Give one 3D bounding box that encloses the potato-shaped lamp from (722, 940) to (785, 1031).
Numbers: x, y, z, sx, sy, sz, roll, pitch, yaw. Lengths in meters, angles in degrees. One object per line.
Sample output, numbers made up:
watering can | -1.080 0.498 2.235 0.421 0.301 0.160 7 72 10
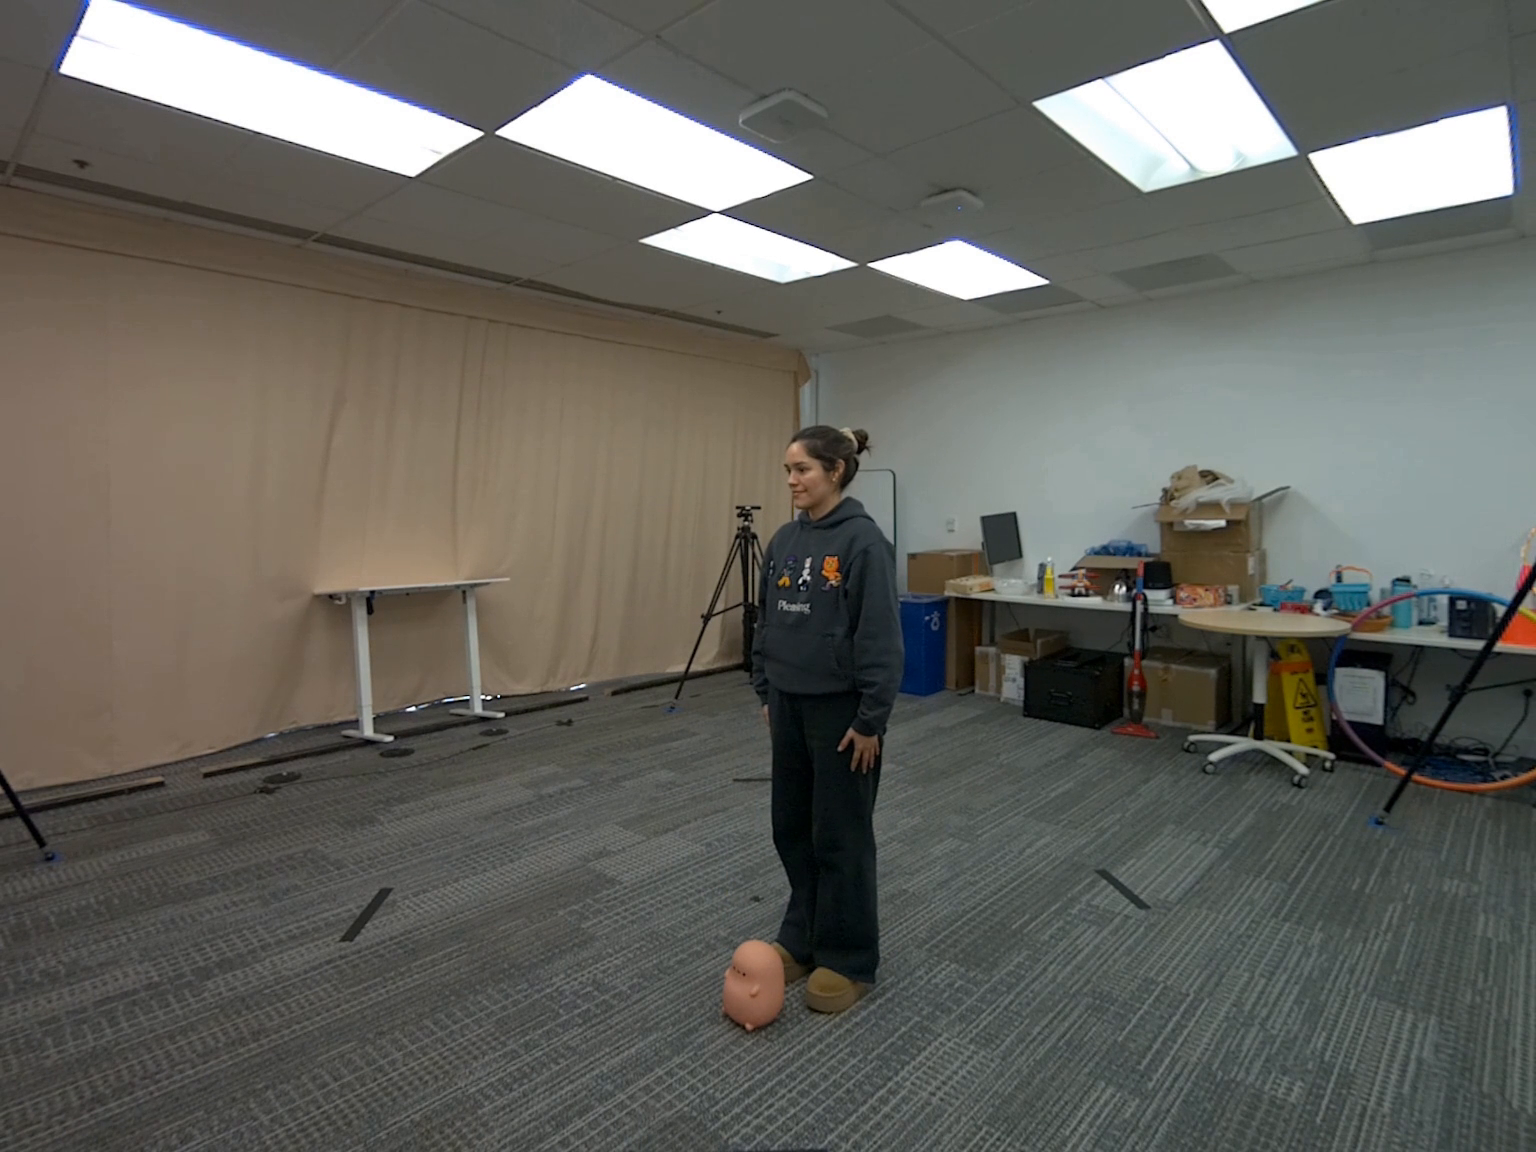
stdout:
potato-shaped lamp | -0.025 1.123 2.296 0.176 0.200 0.159 -13 -29 35
